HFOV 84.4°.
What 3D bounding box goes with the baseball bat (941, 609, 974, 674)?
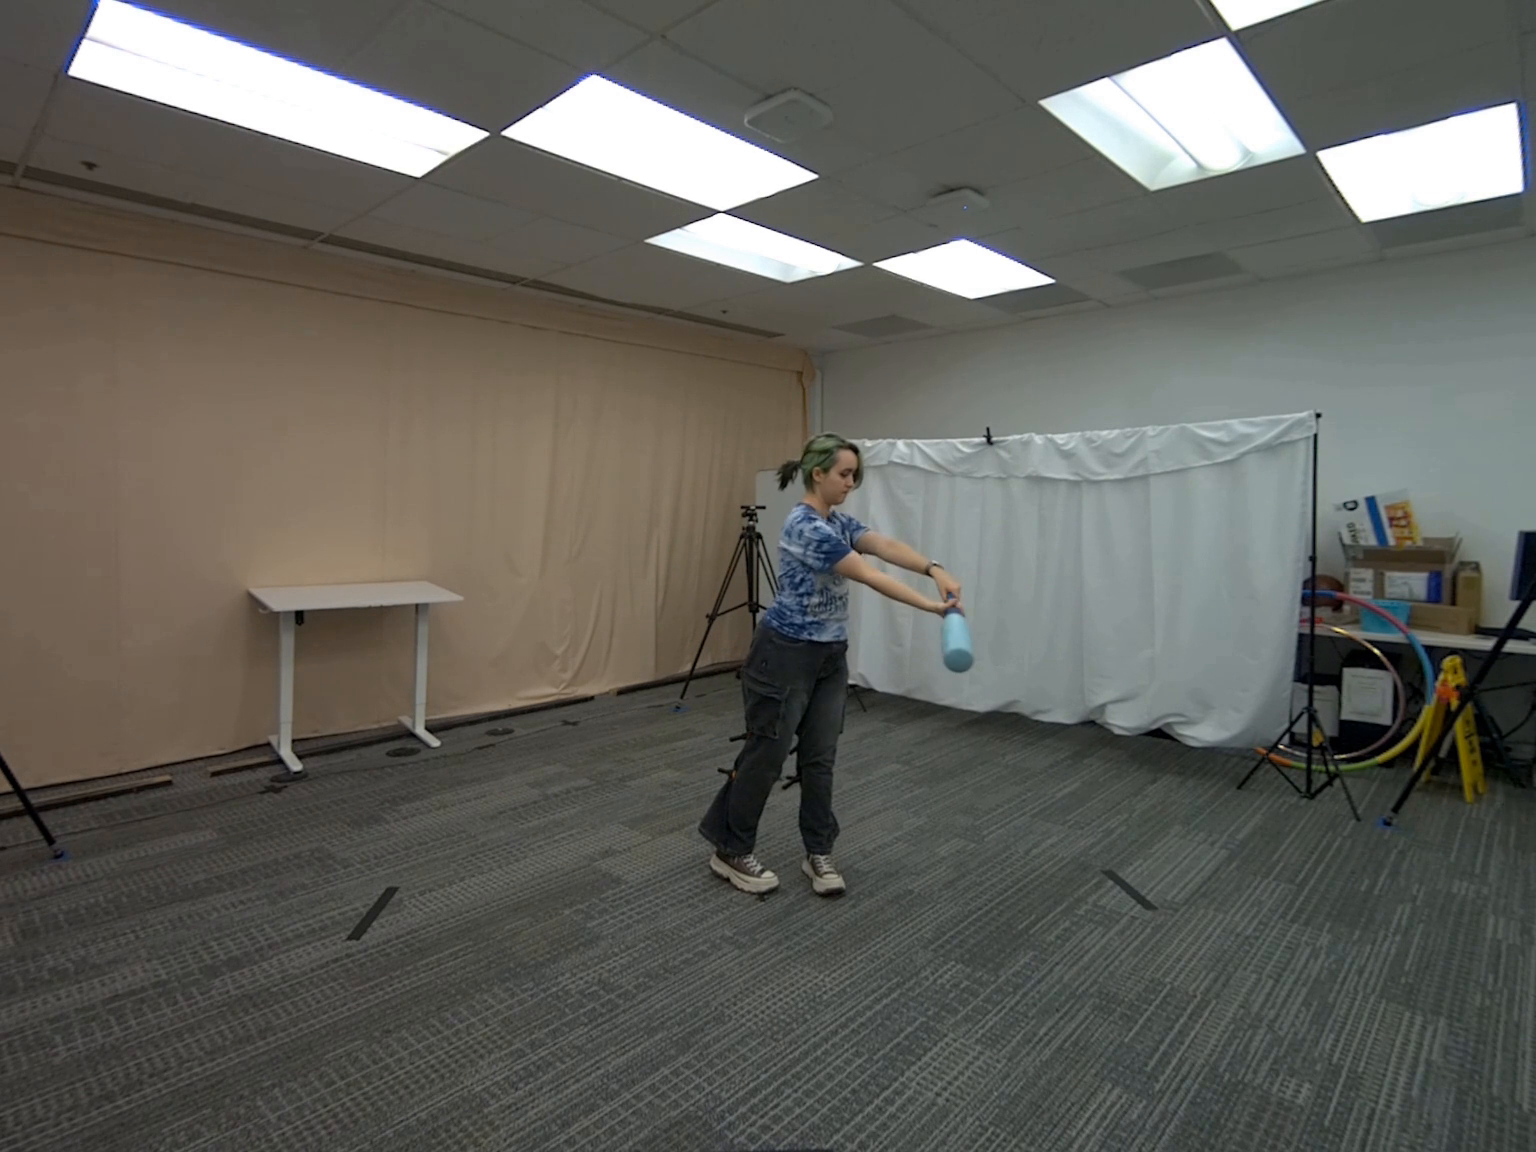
[{"bbox_3d":[0.575,0.133,2.621,0.090,0.088,0.544,0,21,8],"label":"baseball bat"}]
